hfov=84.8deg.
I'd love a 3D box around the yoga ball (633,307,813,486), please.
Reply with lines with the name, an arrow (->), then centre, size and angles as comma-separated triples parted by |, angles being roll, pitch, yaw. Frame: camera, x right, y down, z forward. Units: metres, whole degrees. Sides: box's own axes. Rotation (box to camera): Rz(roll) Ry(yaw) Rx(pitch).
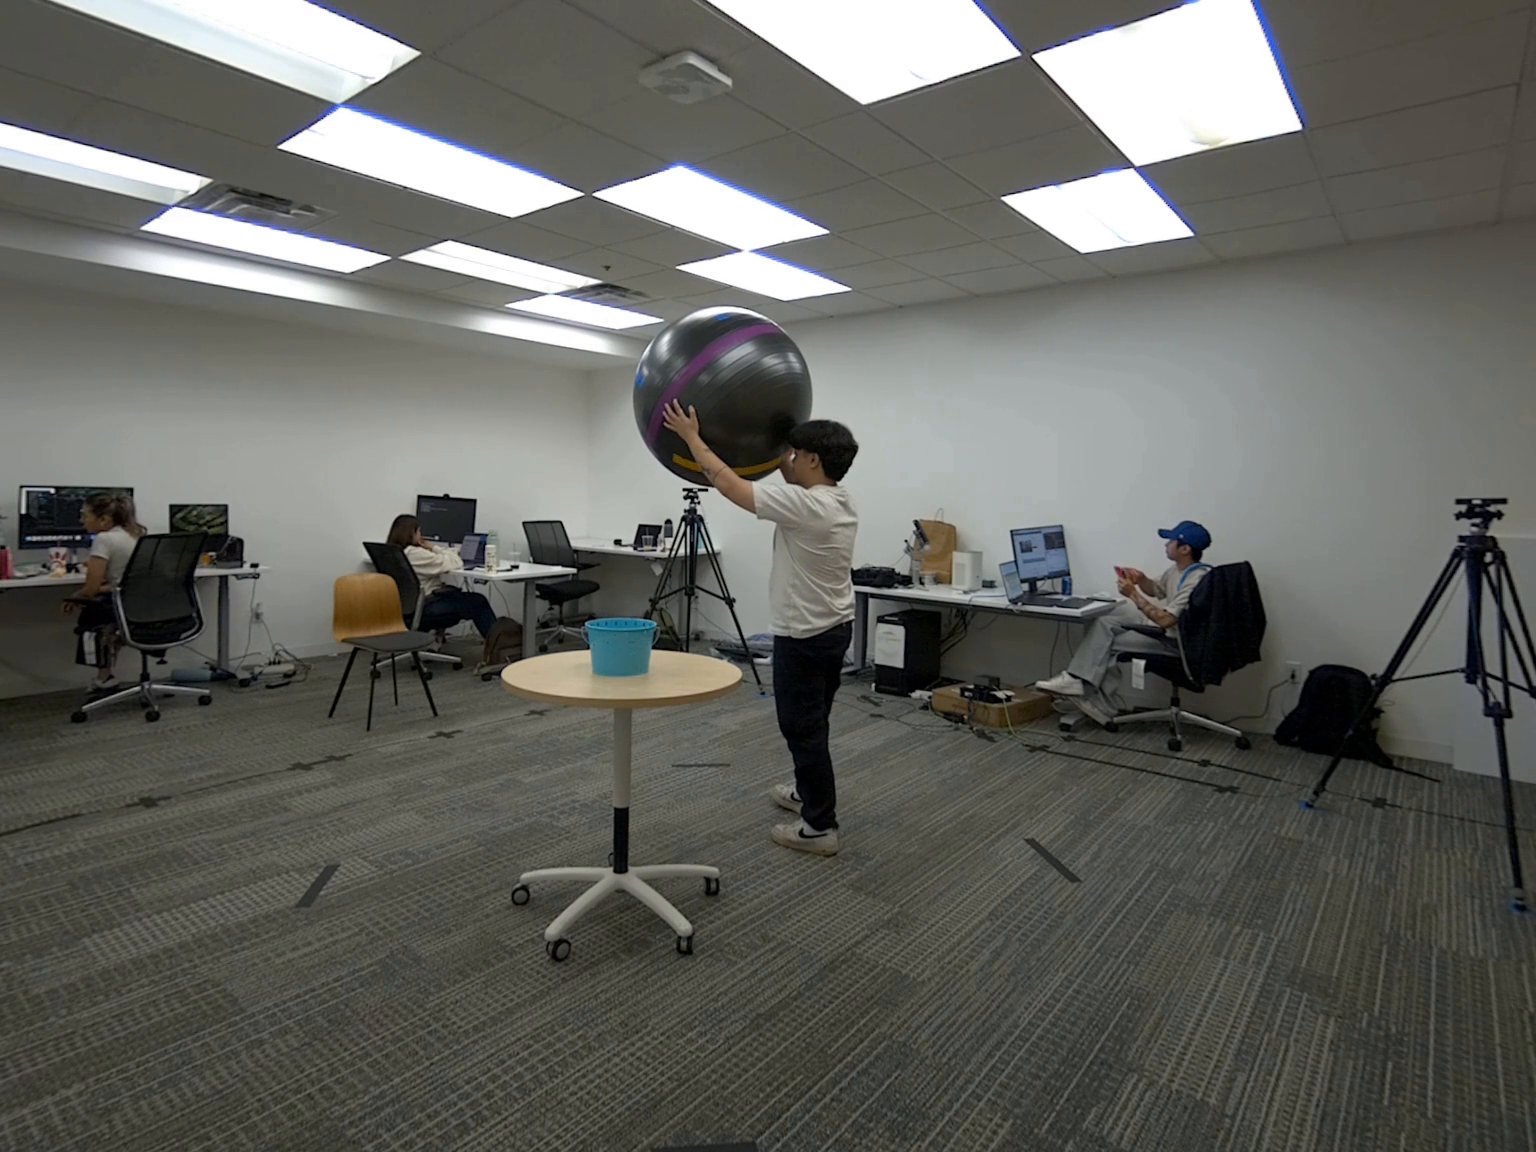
yoga ball -> -0.201, -0.753, 3.614 | 0.757, 0.755, 0.762 | 1, 4, -2
